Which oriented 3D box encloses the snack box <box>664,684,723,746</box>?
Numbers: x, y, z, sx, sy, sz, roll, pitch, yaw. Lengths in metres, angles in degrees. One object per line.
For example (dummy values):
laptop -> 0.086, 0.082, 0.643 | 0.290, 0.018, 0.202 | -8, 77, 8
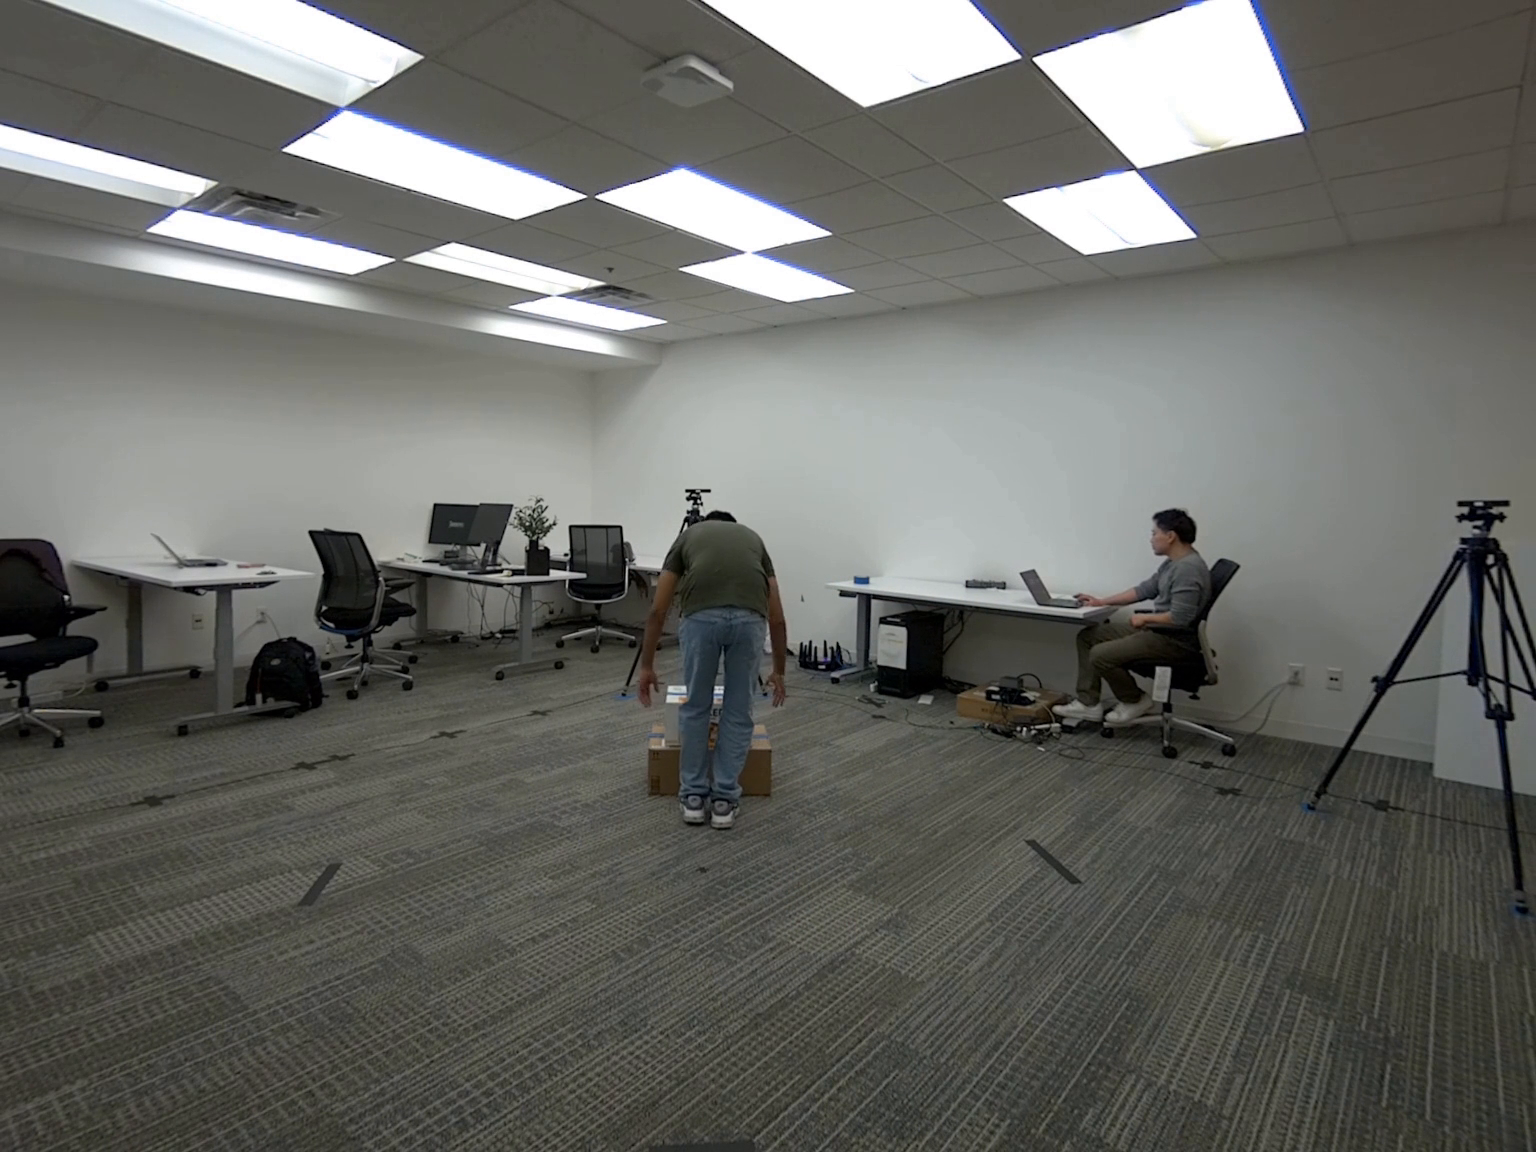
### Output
snack box -> -0.291, 0.660, 4.066 | 0.404, 0.205, 0.342 | 1, 5, -3
